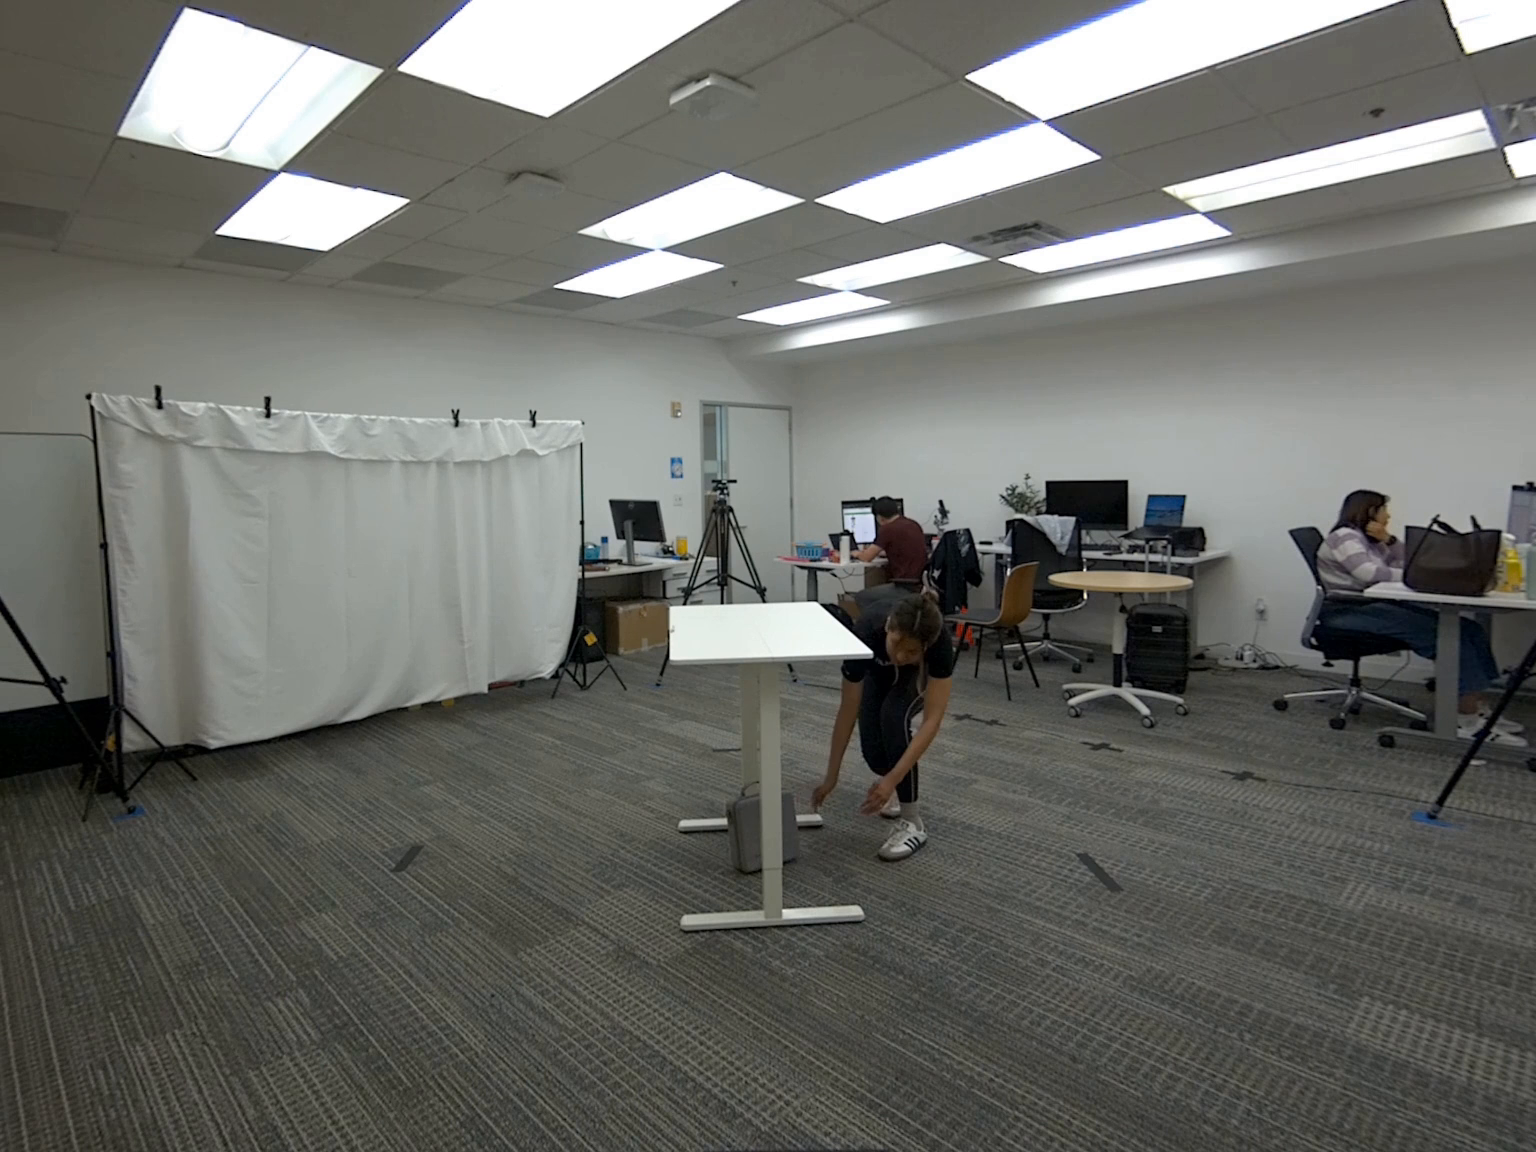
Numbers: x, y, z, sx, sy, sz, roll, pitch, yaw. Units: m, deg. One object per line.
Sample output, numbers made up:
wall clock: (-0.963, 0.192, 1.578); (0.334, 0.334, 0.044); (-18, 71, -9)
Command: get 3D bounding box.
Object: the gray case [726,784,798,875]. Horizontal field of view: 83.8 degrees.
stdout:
gray case: (-0.018, 0.916, 3.110); (0.251, 0.262, 0.106); (-3, -7, -30)
